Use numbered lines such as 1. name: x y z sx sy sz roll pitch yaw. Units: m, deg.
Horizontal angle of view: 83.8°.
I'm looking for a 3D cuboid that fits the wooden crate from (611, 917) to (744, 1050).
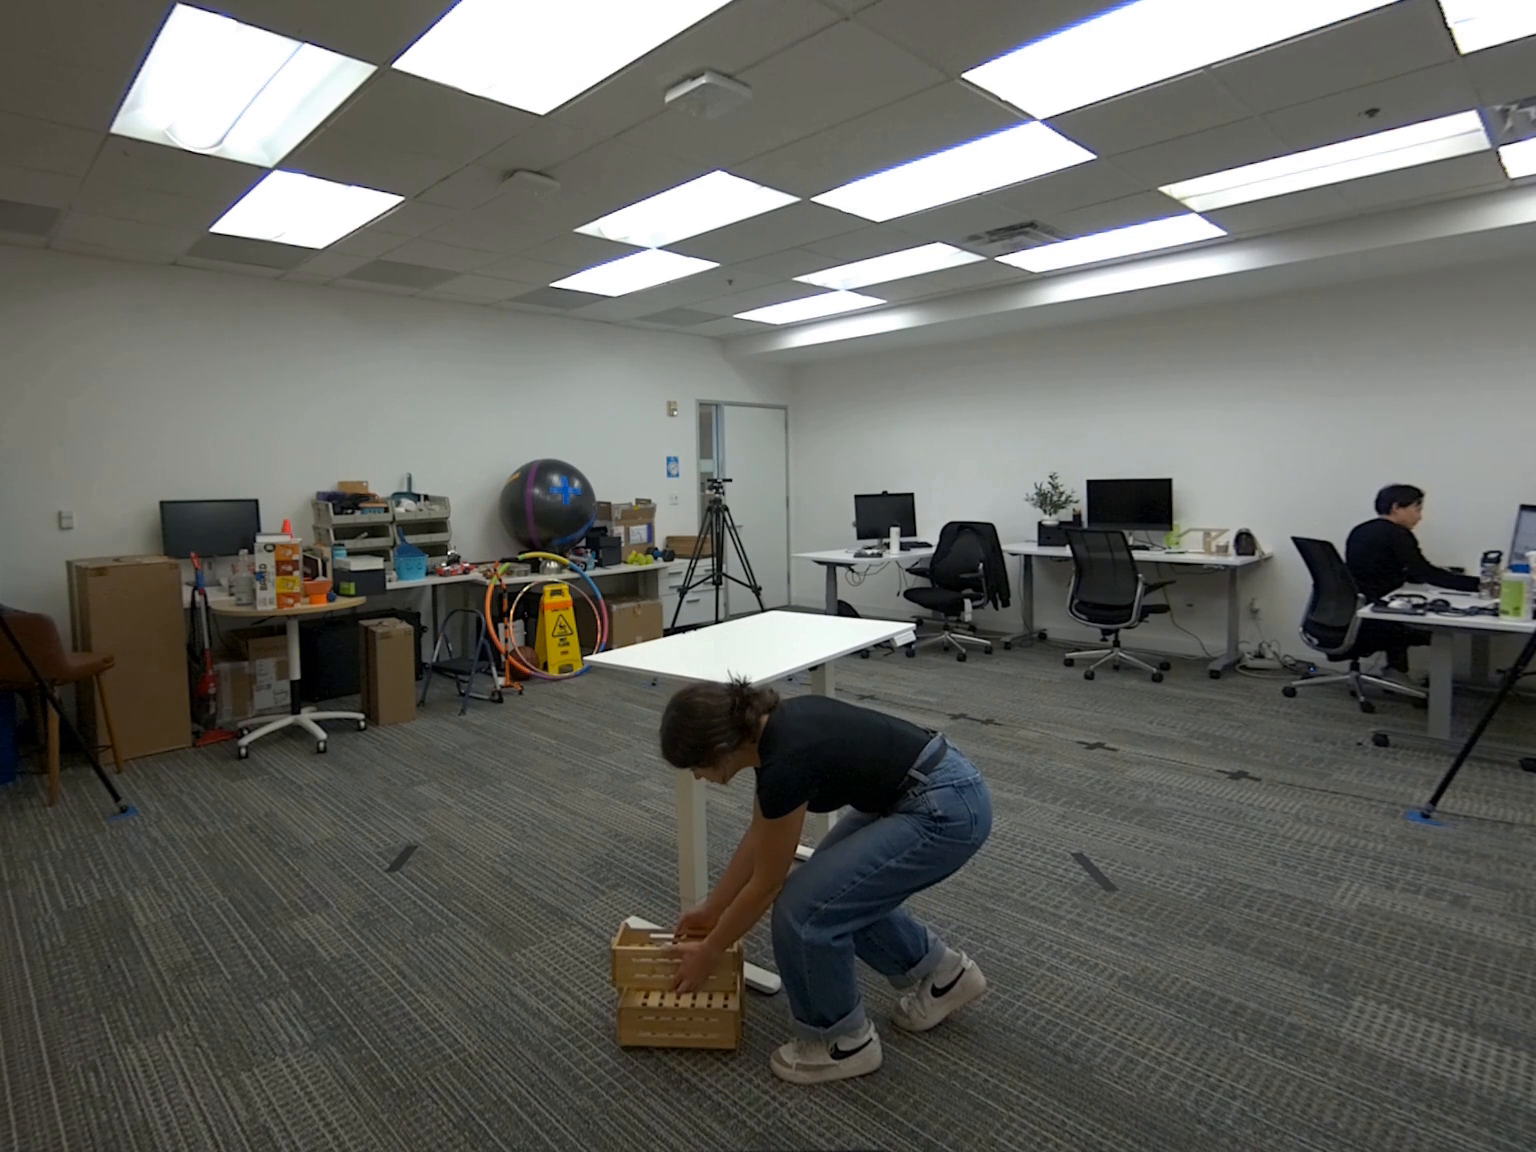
1. wooden crate: -0.210 1.006 2.197 0.325 0.273 0.302 -1 2 2
